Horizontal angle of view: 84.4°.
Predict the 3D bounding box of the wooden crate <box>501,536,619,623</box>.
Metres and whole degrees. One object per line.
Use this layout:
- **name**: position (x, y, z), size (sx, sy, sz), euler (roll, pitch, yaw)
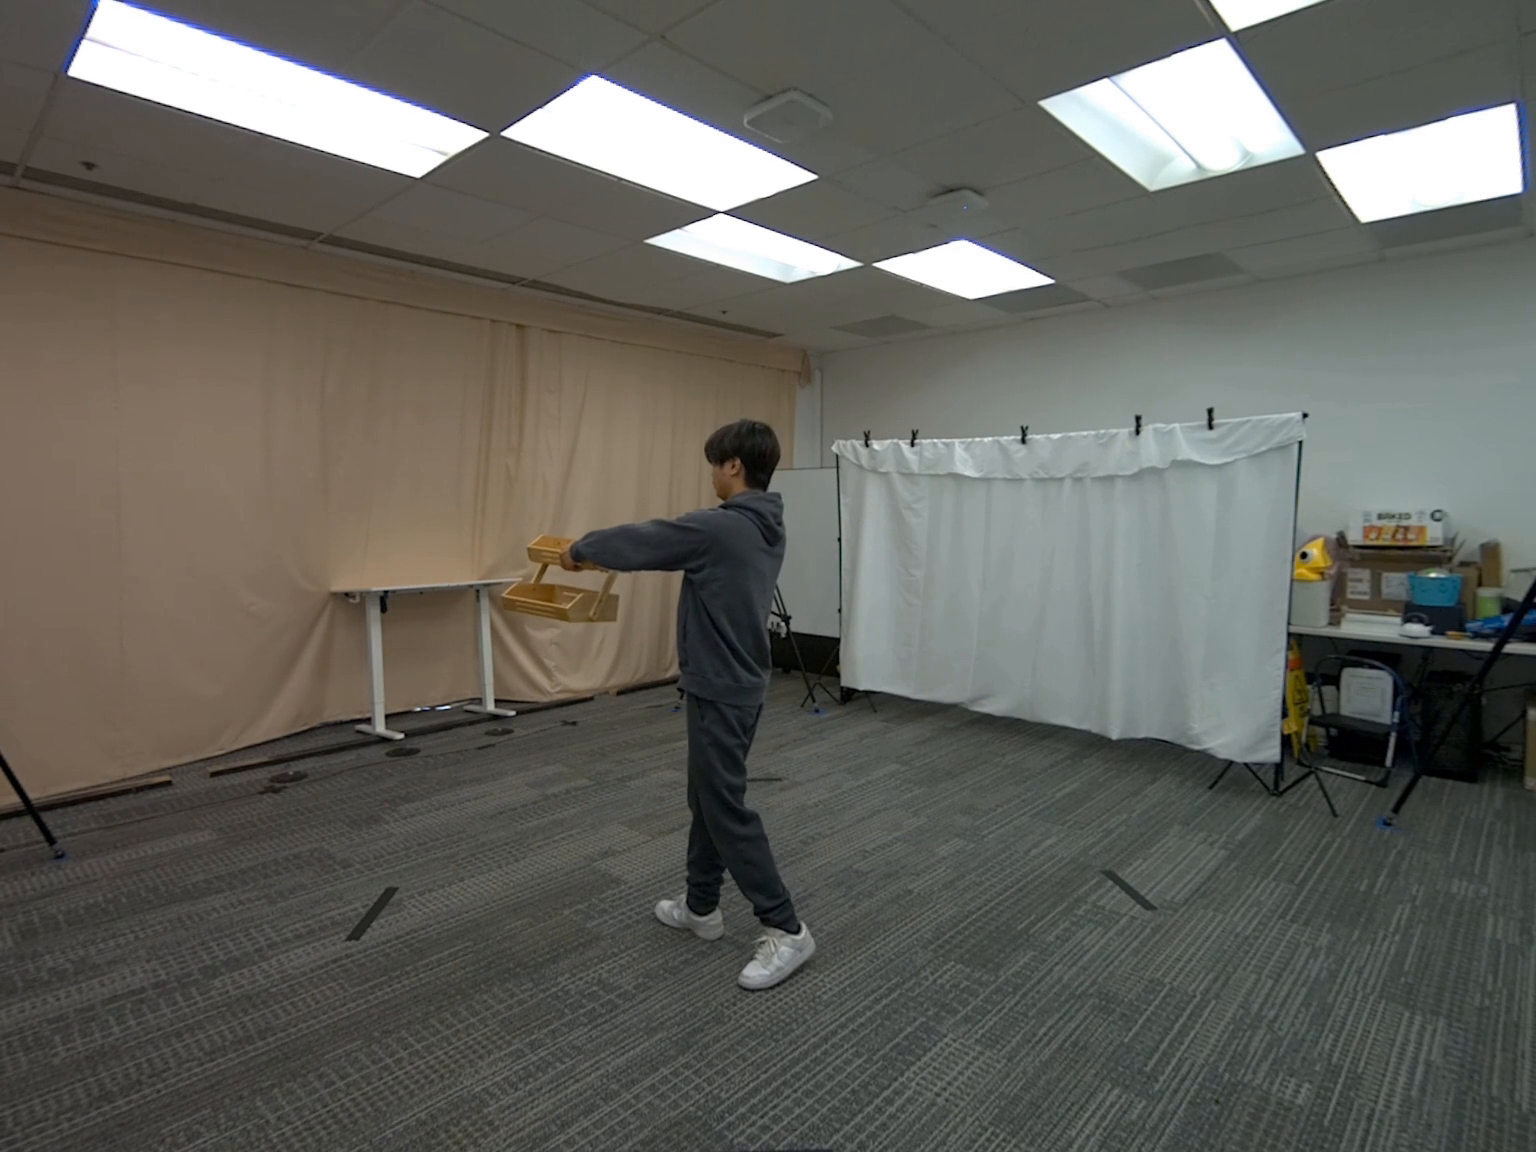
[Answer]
- **wooden crate**: position (-0.671, 0.006, 2.851), size (0.334, 0.273, 0.293), euler (7, 0, 31)
